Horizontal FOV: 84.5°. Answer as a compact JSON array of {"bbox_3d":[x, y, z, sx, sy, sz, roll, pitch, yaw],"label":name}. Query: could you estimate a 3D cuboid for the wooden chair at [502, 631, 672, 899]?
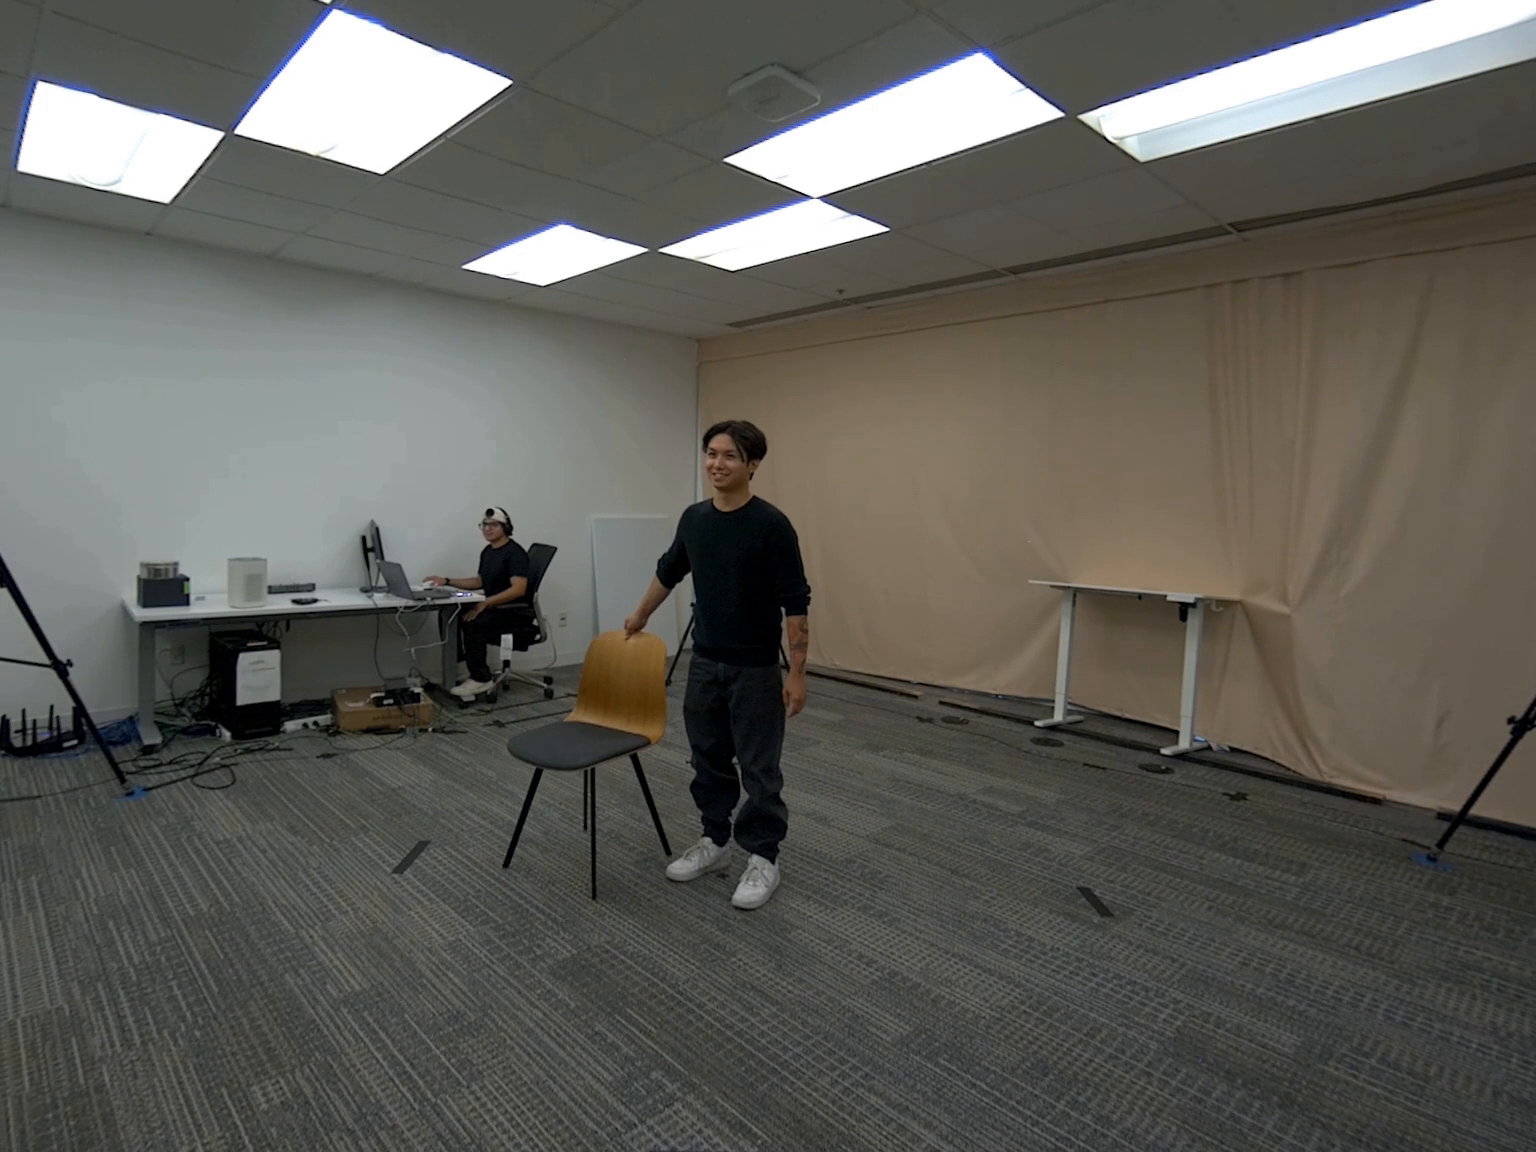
[{"bbox_3d":[-0.676,0.663,3.161,0.489,0.877,0.511,3,0,31],"label":"wooden chair"}]
